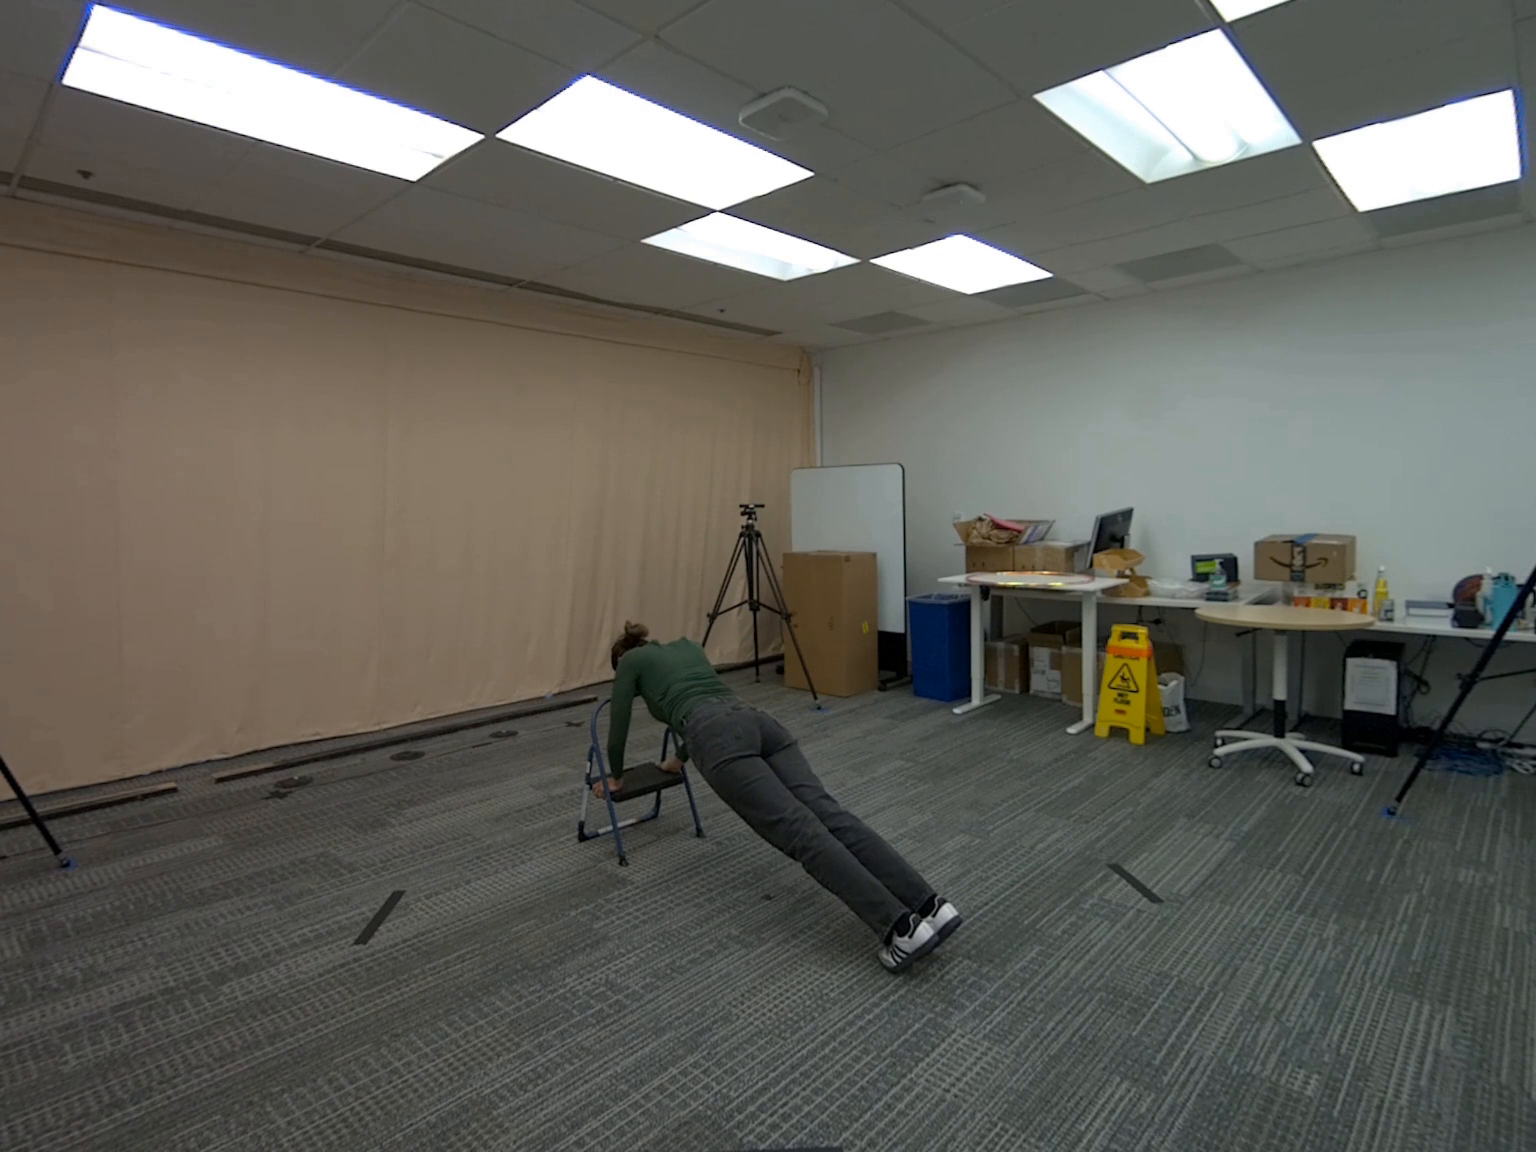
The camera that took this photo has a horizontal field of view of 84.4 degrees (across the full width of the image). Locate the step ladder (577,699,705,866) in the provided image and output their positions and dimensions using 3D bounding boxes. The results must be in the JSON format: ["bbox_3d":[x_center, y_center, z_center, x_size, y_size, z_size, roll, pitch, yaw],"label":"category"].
[{"bbox_3d":[-0.539,0.805,3.525,0.417,0.605,0.361,-4,4,-43],"label":"step ladder"}]
